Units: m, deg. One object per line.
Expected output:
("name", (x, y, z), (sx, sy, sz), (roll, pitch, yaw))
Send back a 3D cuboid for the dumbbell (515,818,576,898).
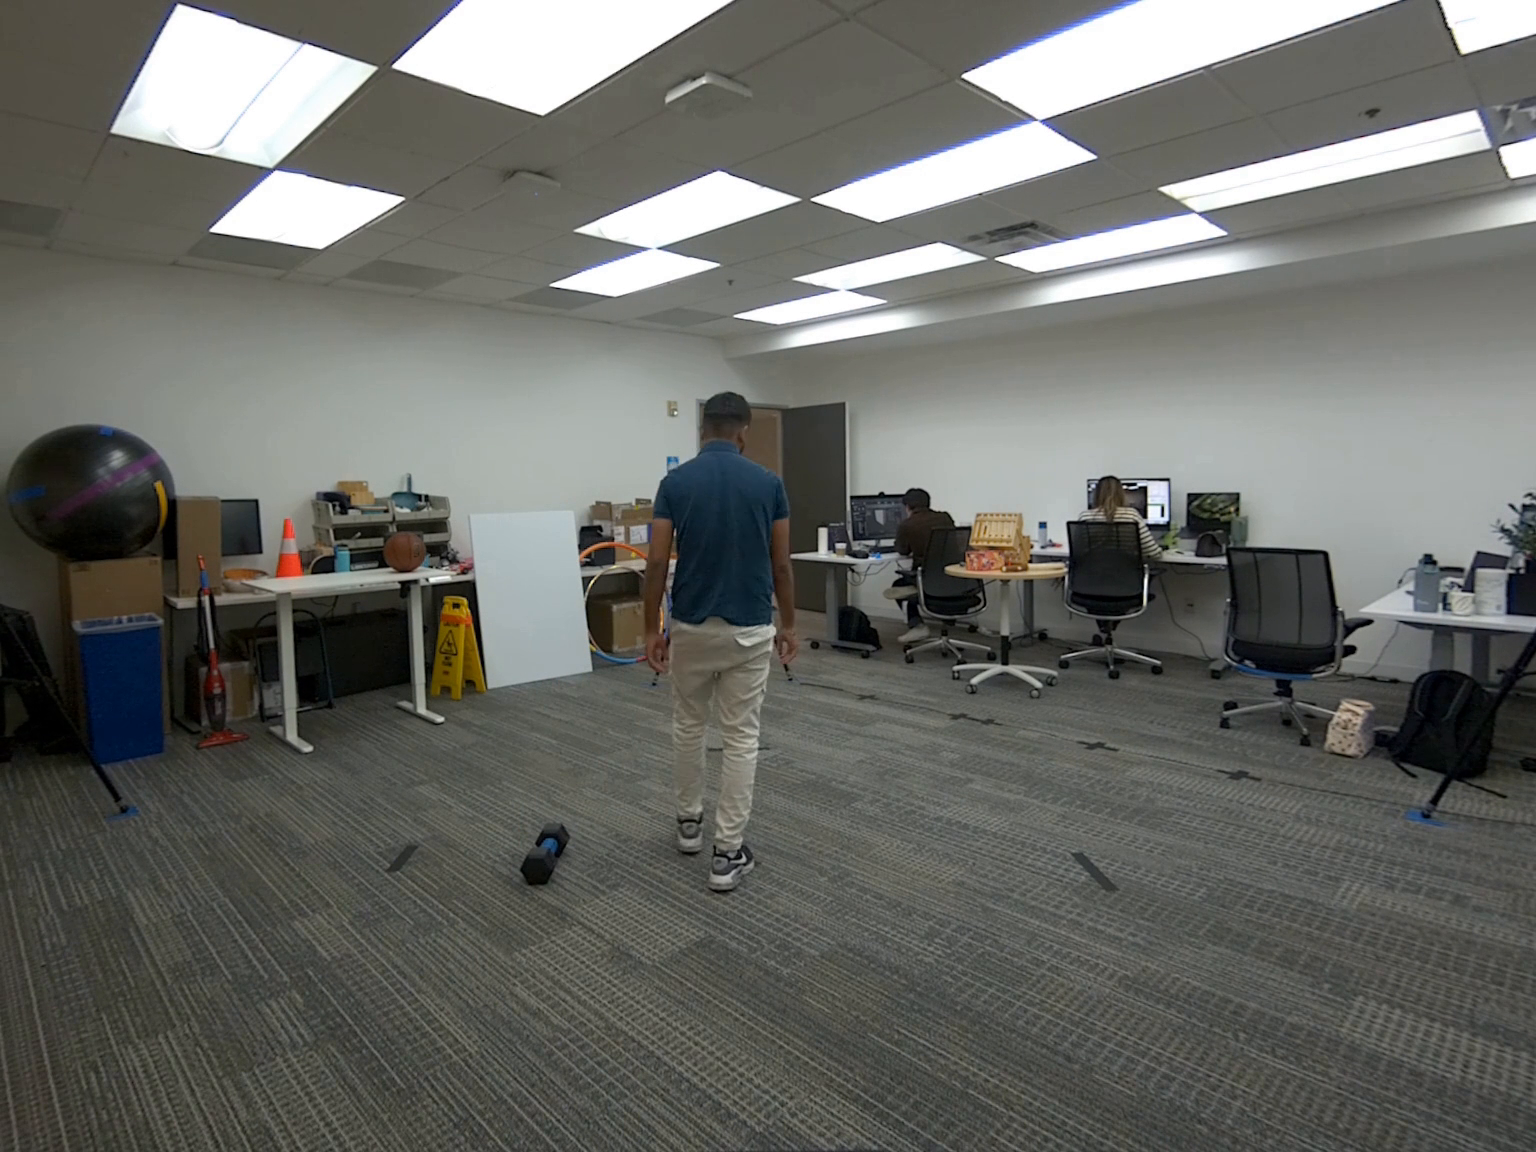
("dumbbell", (-0.805, 1.015, 3.108), (0.108, 0.123, 0.295), (30, 5, -5))
